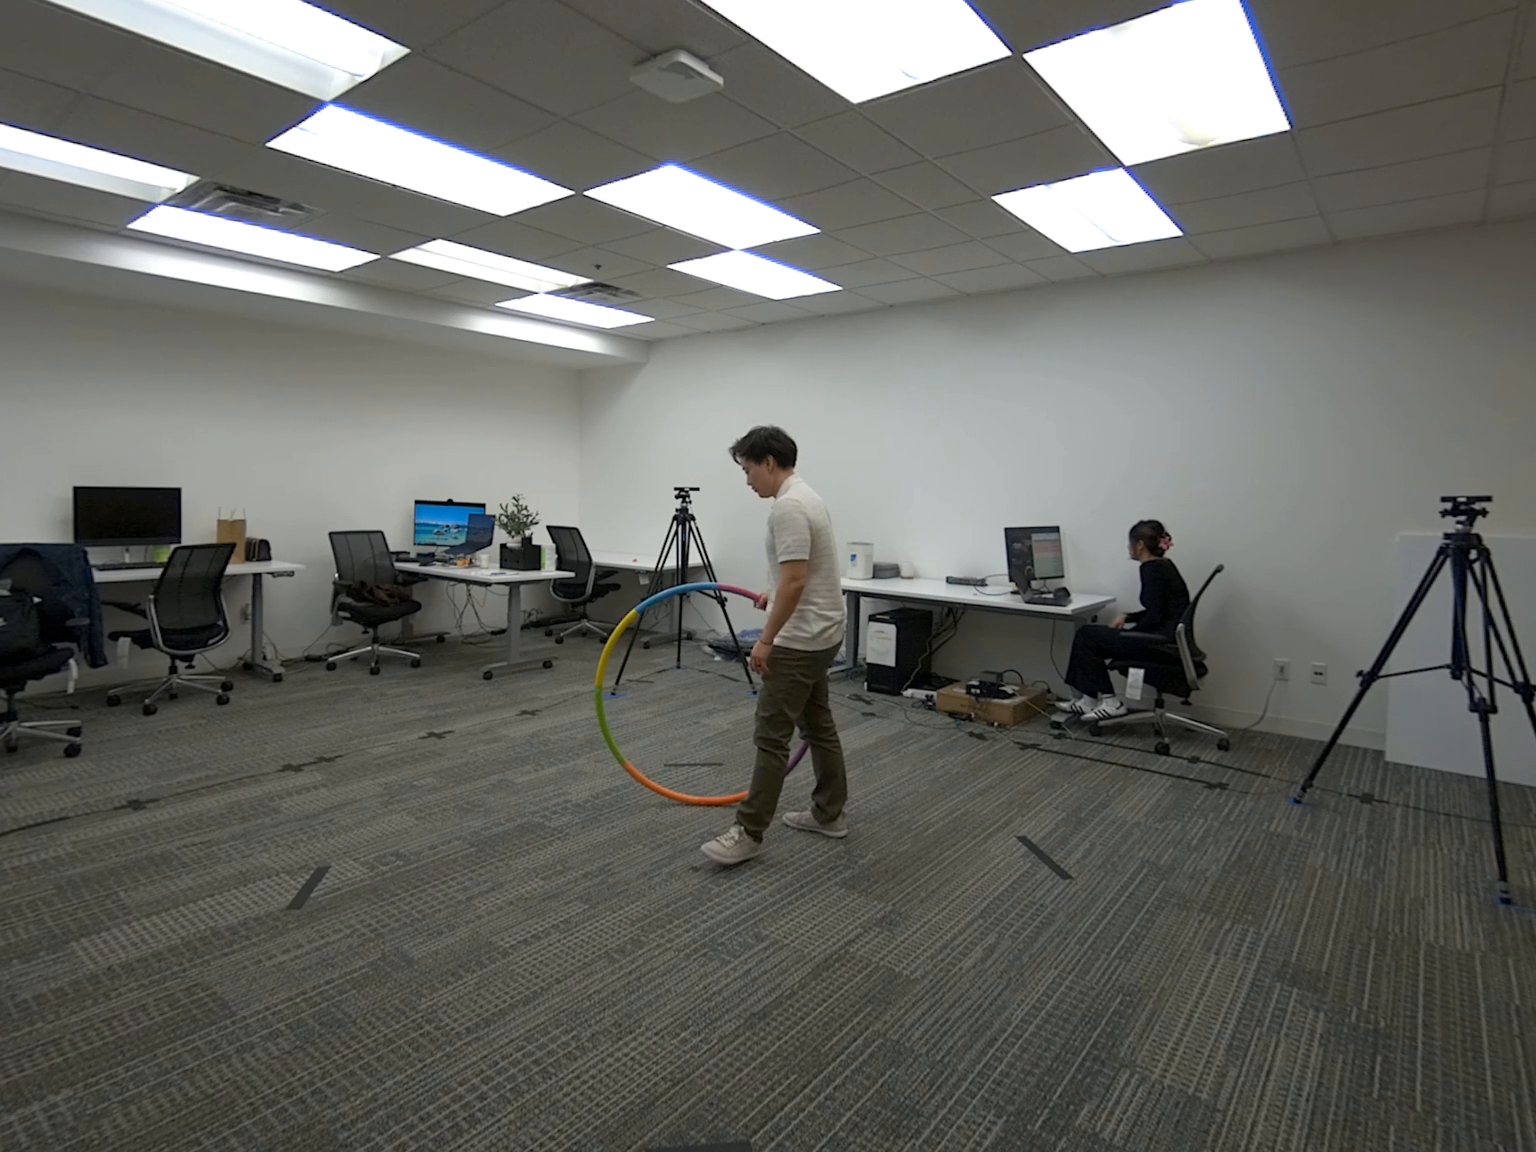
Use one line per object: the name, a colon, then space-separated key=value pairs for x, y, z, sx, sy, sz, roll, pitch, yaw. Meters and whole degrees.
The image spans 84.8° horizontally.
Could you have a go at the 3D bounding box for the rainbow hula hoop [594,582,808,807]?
rainbow hula hoop: x=-0.280 y=0.518 z=3.711 sx=0.980 sy=0.976 sz=0.035 roll=1 pitch=2 yaw=2
